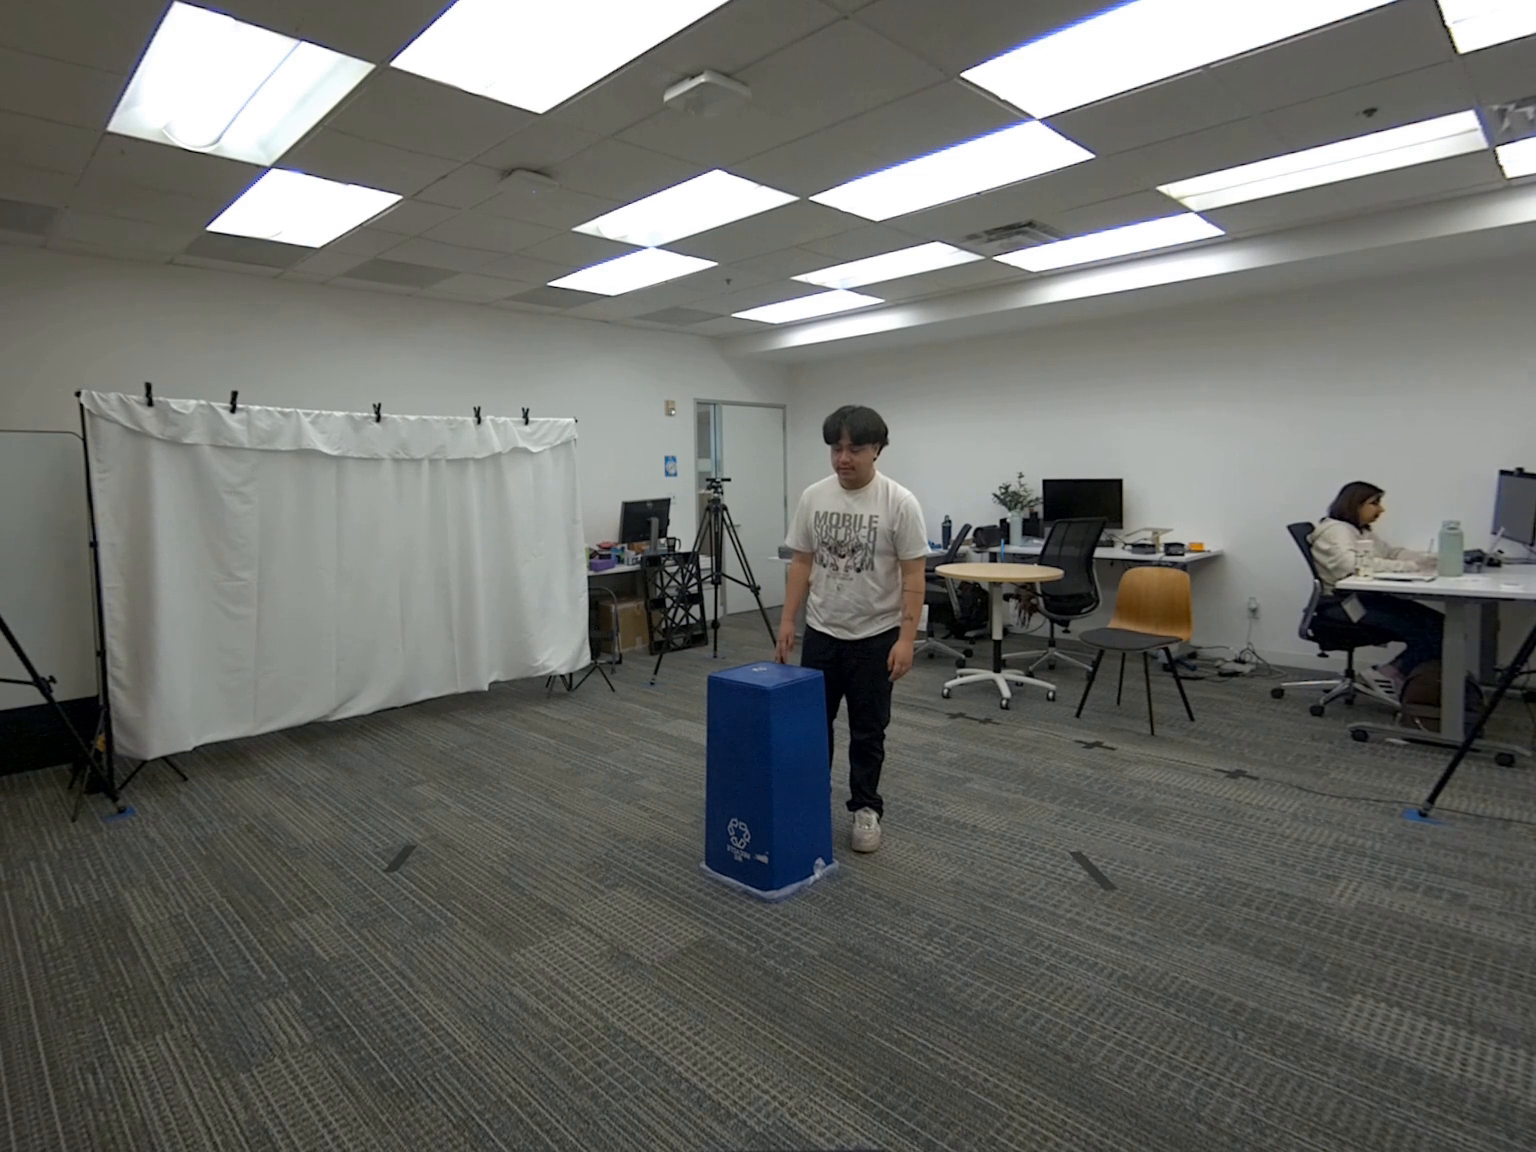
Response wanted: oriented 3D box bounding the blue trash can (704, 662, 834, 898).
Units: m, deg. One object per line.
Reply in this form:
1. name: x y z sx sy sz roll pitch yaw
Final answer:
1. blue trash can: -0.005 0.695 3.035 0.385 0.712 0.368 2 4 45
